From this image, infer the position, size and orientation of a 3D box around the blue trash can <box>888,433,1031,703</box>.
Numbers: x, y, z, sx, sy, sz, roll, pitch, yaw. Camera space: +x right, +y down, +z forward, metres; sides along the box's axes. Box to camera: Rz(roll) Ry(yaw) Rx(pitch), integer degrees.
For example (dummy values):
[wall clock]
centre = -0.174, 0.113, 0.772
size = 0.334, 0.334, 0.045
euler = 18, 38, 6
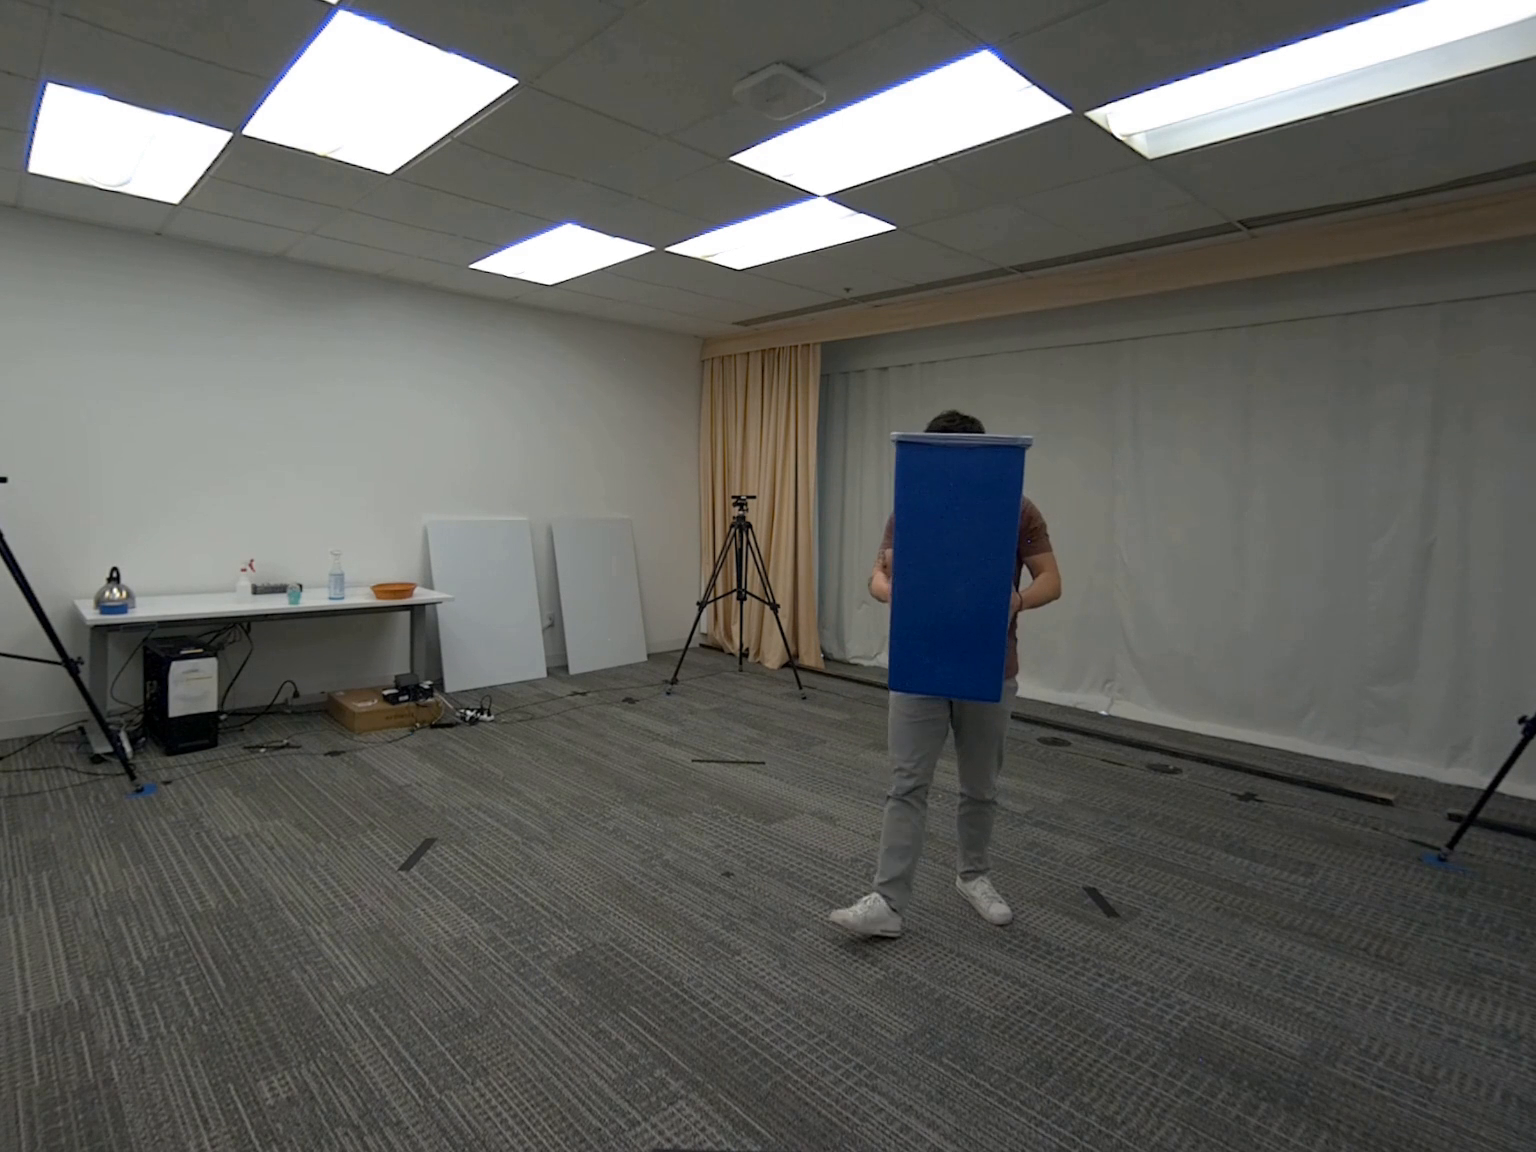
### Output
[blue trash can]
centre = 0.523, -0.039, 2.396
size = 0.382, 0.712, 0.370
euler = 3, 2, 14
